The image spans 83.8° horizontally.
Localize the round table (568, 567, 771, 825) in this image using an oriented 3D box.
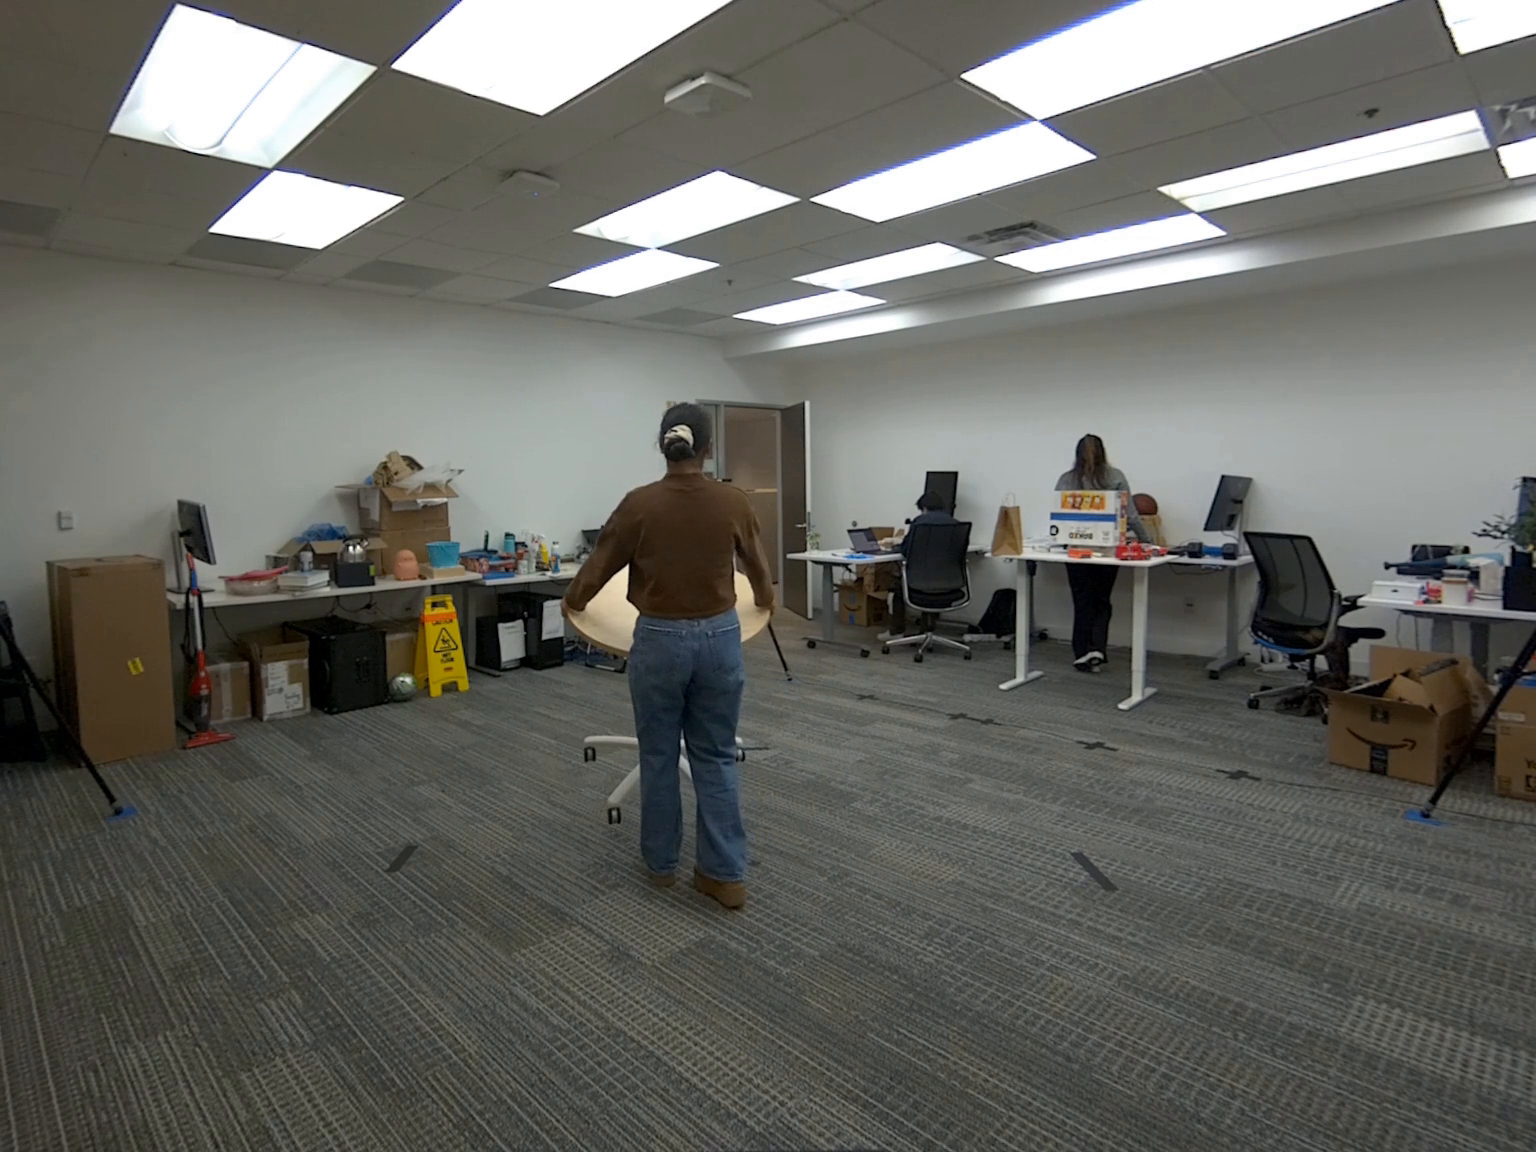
[{"bbox_3d":[-0.406,0.452,3.390,0.783,0.772,0.801,3,24,-3],"label":"round table"}]
